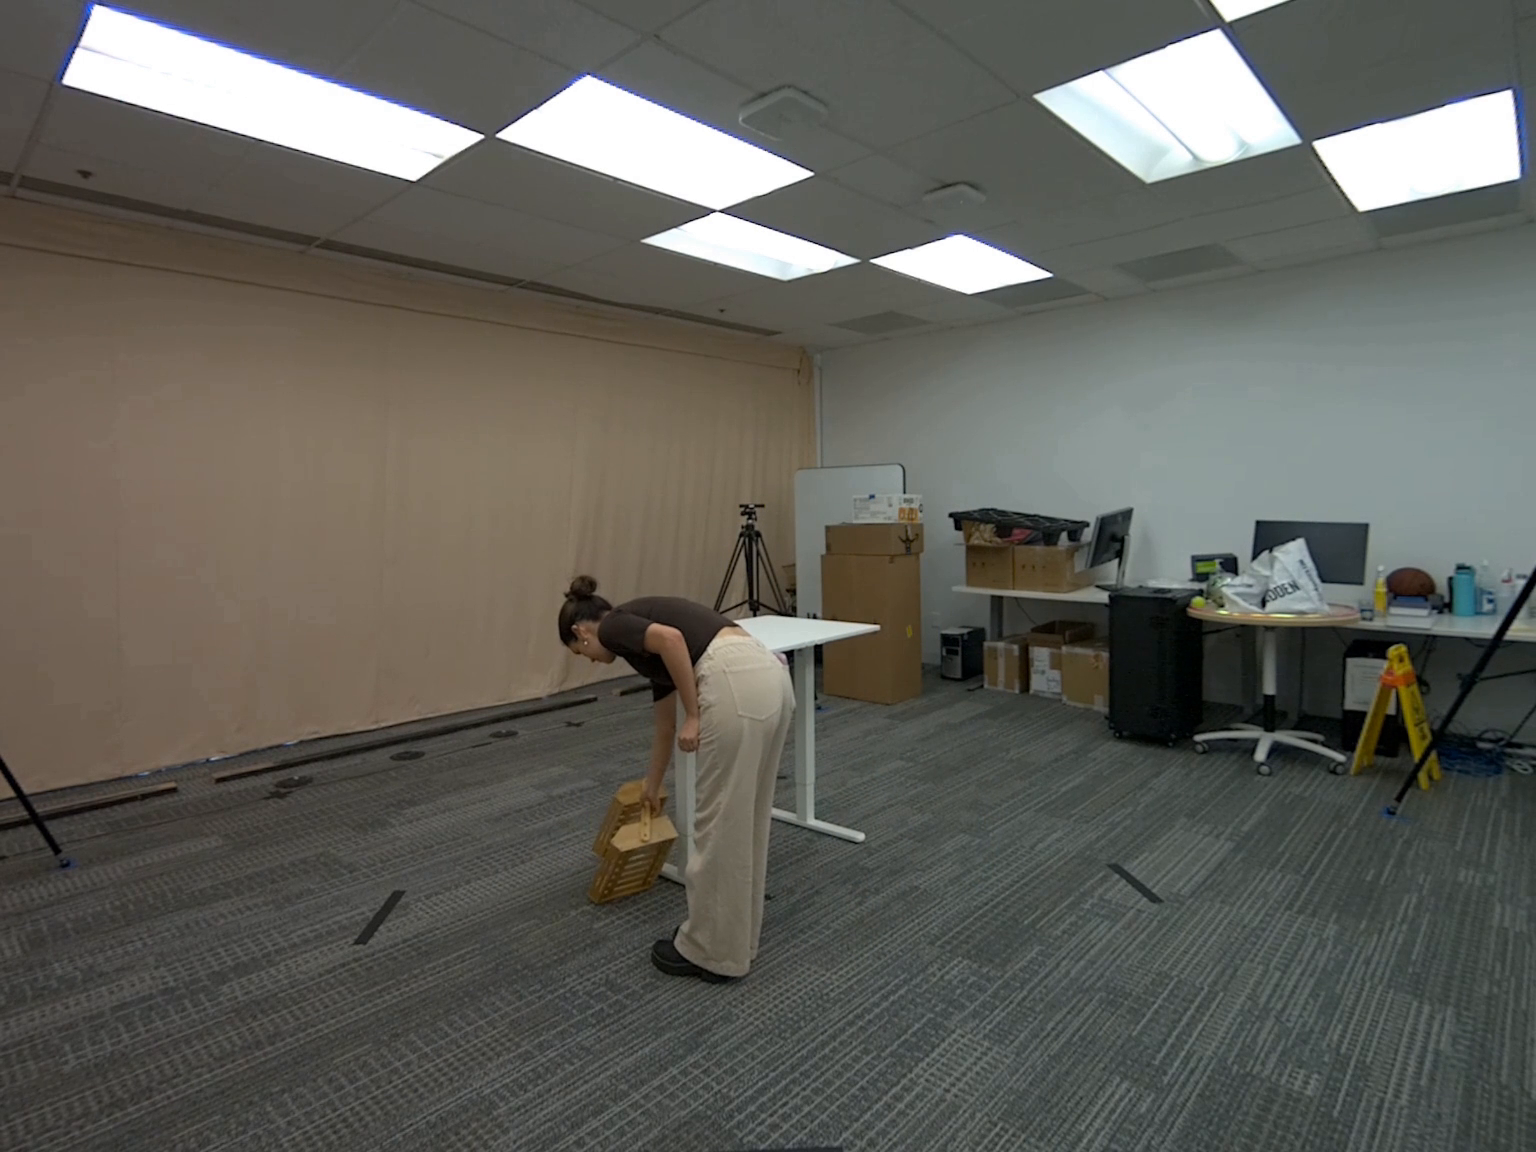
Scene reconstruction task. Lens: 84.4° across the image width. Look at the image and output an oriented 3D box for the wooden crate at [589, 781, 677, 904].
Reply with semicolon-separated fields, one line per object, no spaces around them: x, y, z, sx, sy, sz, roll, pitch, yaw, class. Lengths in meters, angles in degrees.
-0.514;0.944;3.031;0.293;0.323;0.283;-1;39;-38;wooden crate
